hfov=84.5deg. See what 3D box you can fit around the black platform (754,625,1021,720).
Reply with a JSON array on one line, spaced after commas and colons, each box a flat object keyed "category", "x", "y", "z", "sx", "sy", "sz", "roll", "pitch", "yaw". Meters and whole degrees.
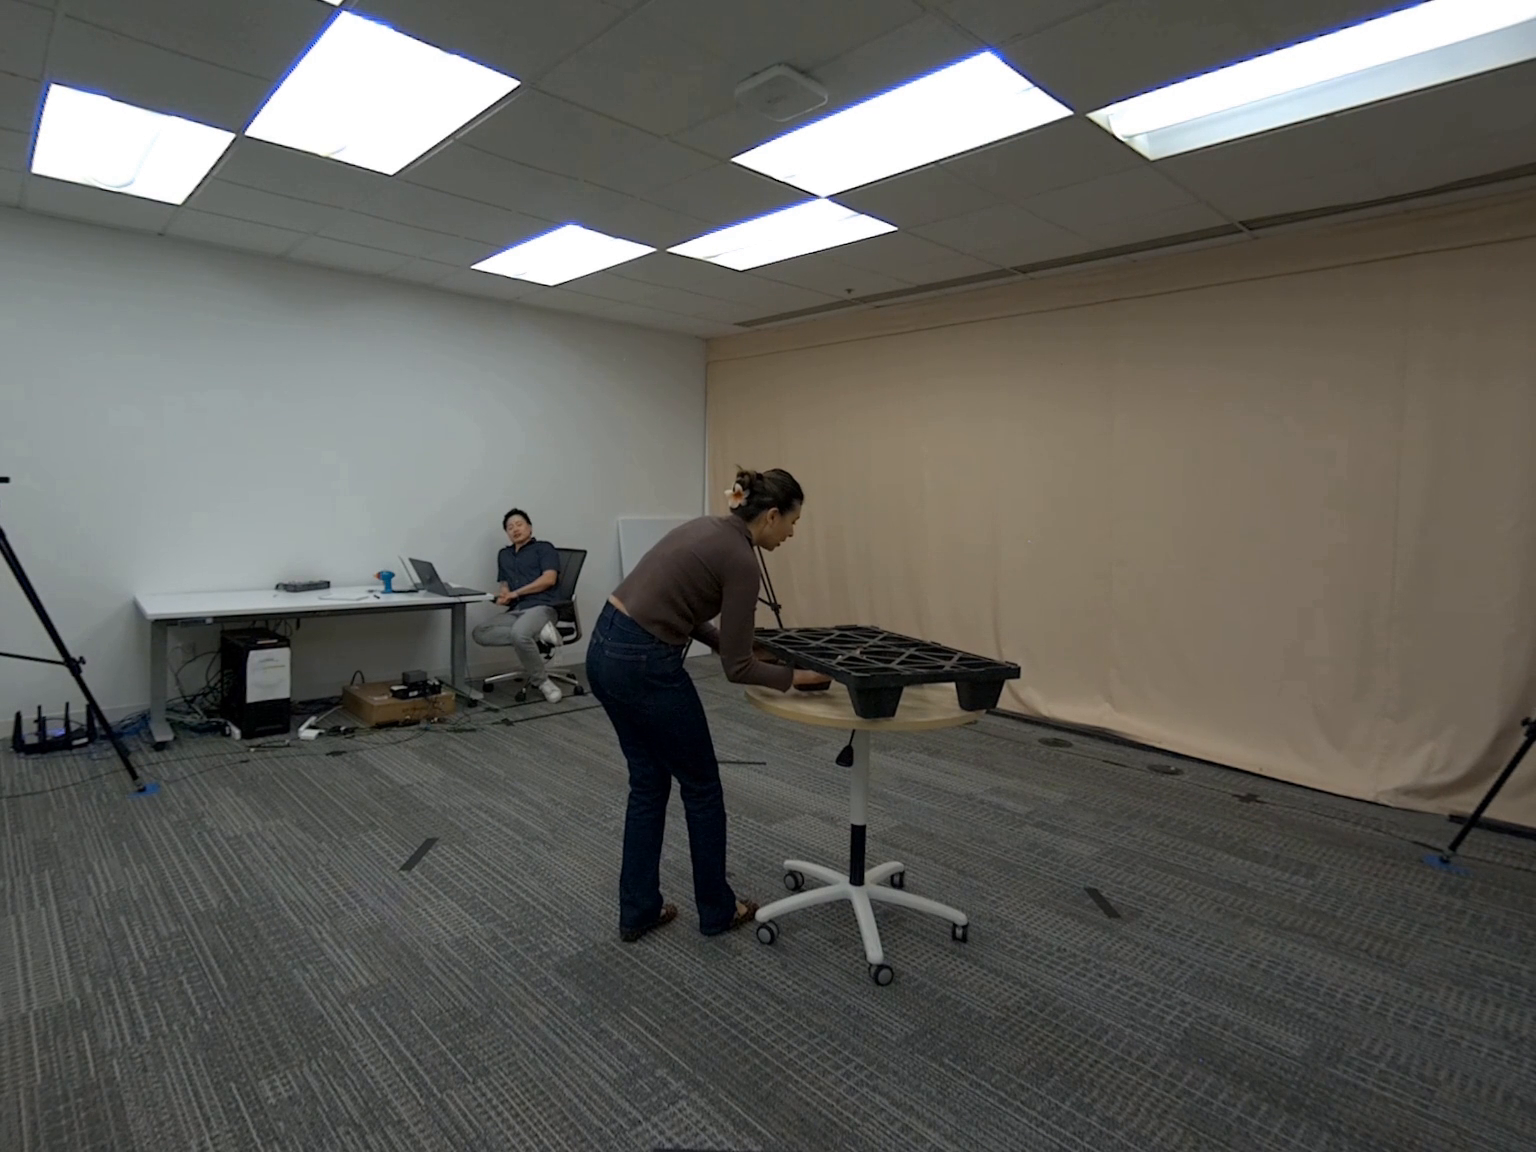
[{"category": "black platform", "x": 0.308, "y": 0.293, "z": 2.720, "sx": 0.593, "sy": 0.143, "sz": 0.824, "roll": 0, "pitch": 6, "yaw": -28}]
